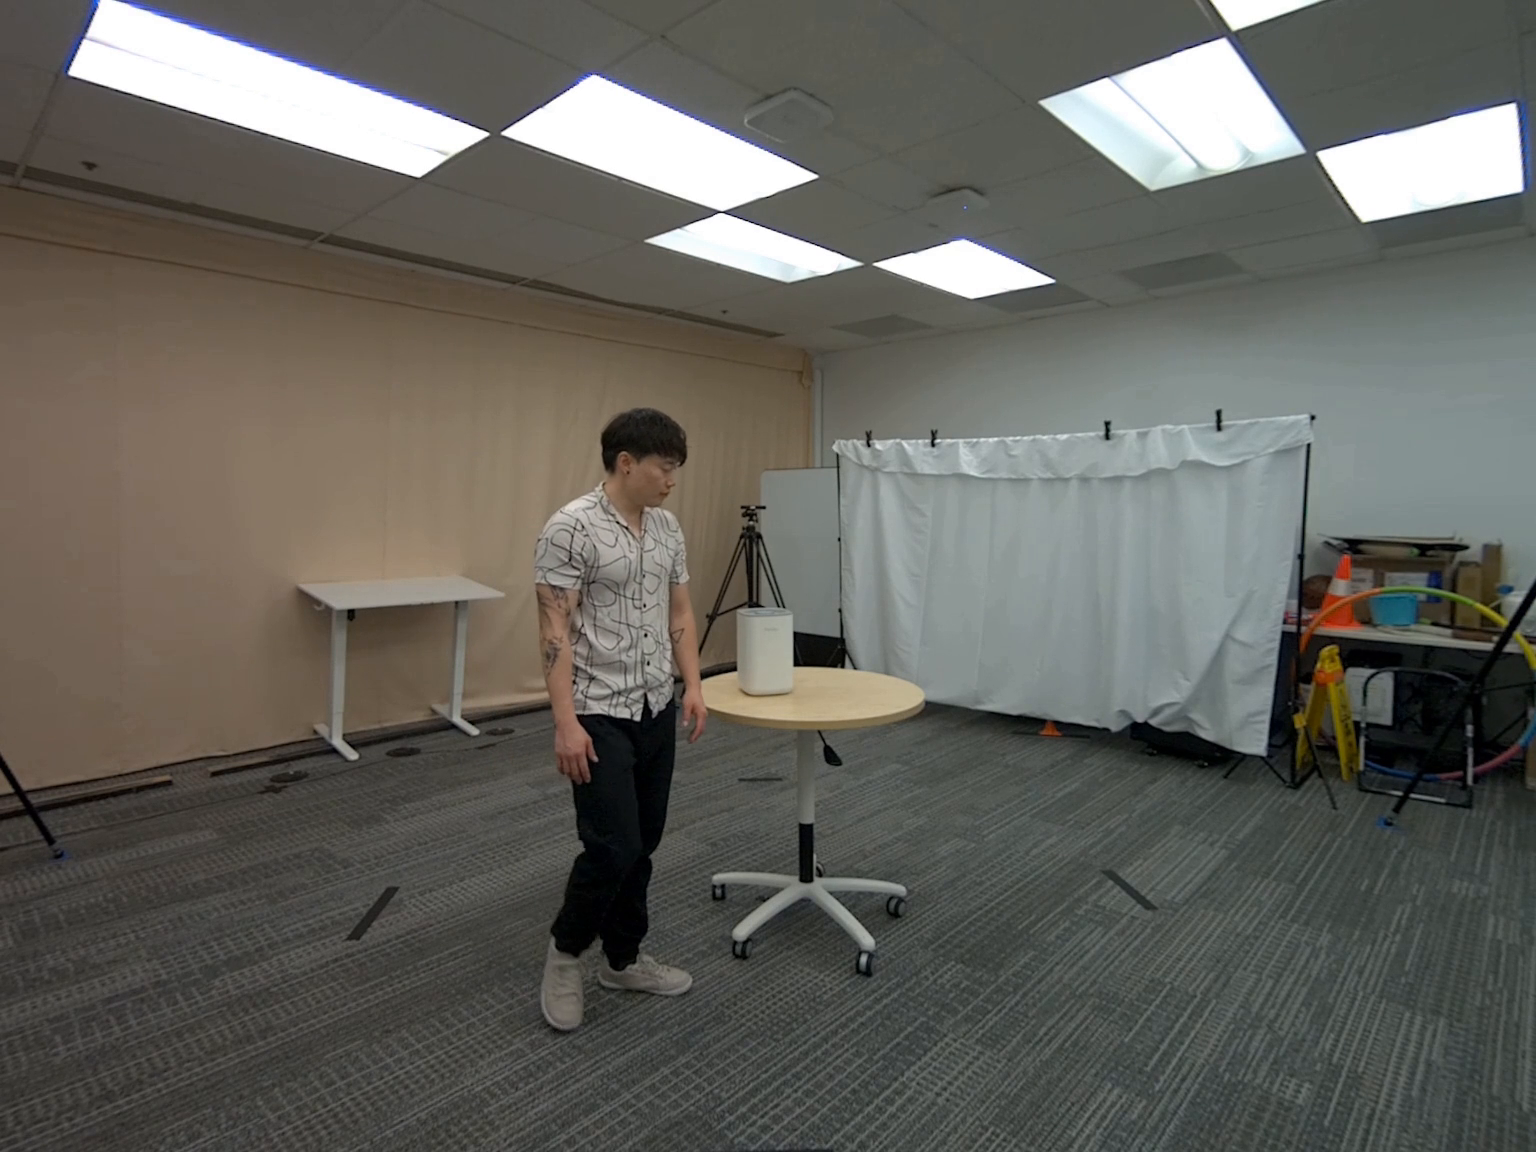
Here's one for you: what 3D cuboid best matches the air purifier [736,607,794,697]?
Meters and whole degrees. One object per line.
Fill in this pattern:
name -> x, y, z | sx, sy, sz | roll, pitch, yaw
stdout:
air purifier -> -0.005, 0.250, 2.768 | 0.169, 0.265, 0.174 | -2, 4, -13
